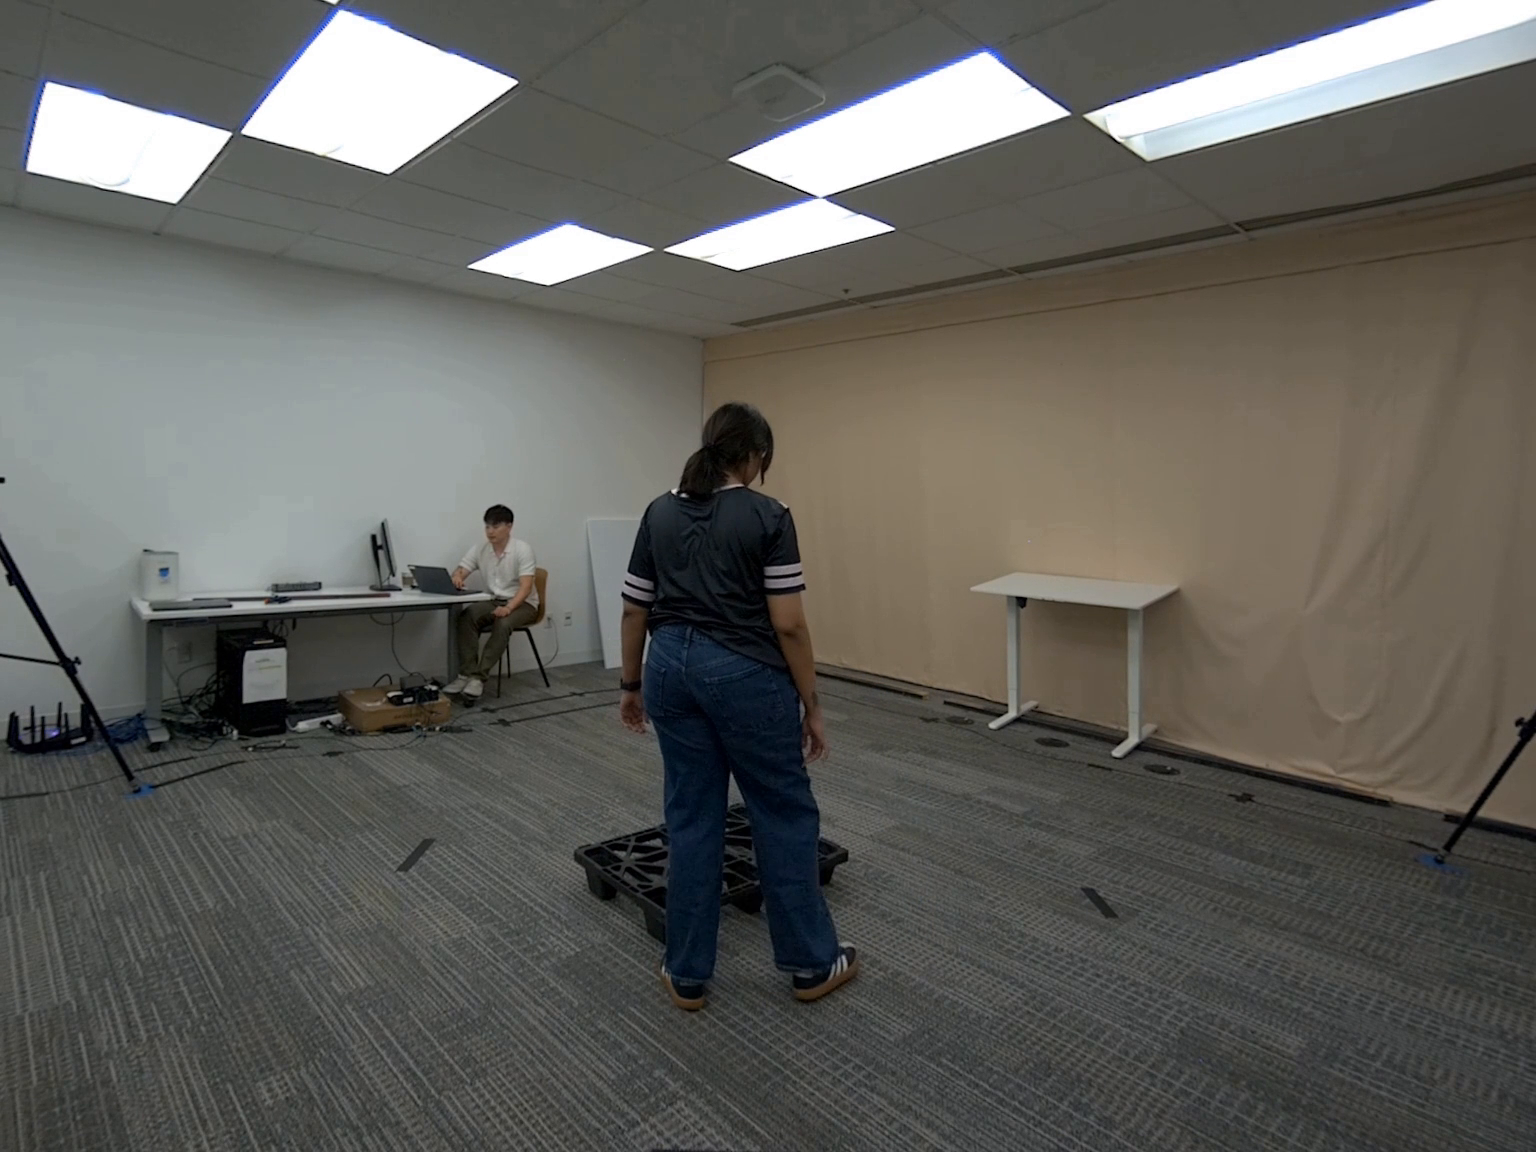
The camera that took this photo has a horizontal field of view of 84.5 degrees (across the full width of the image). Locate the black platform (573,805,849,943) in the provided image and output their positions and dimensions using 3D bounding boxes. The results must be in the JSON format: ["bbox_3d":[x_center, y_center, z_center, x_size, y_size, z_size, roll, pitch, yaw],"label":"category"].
[{"bbox_3d":[-0.212,1.048,3.007,0.787,0.143,0.620,-3,6,-40],"label":"black platform"}]
